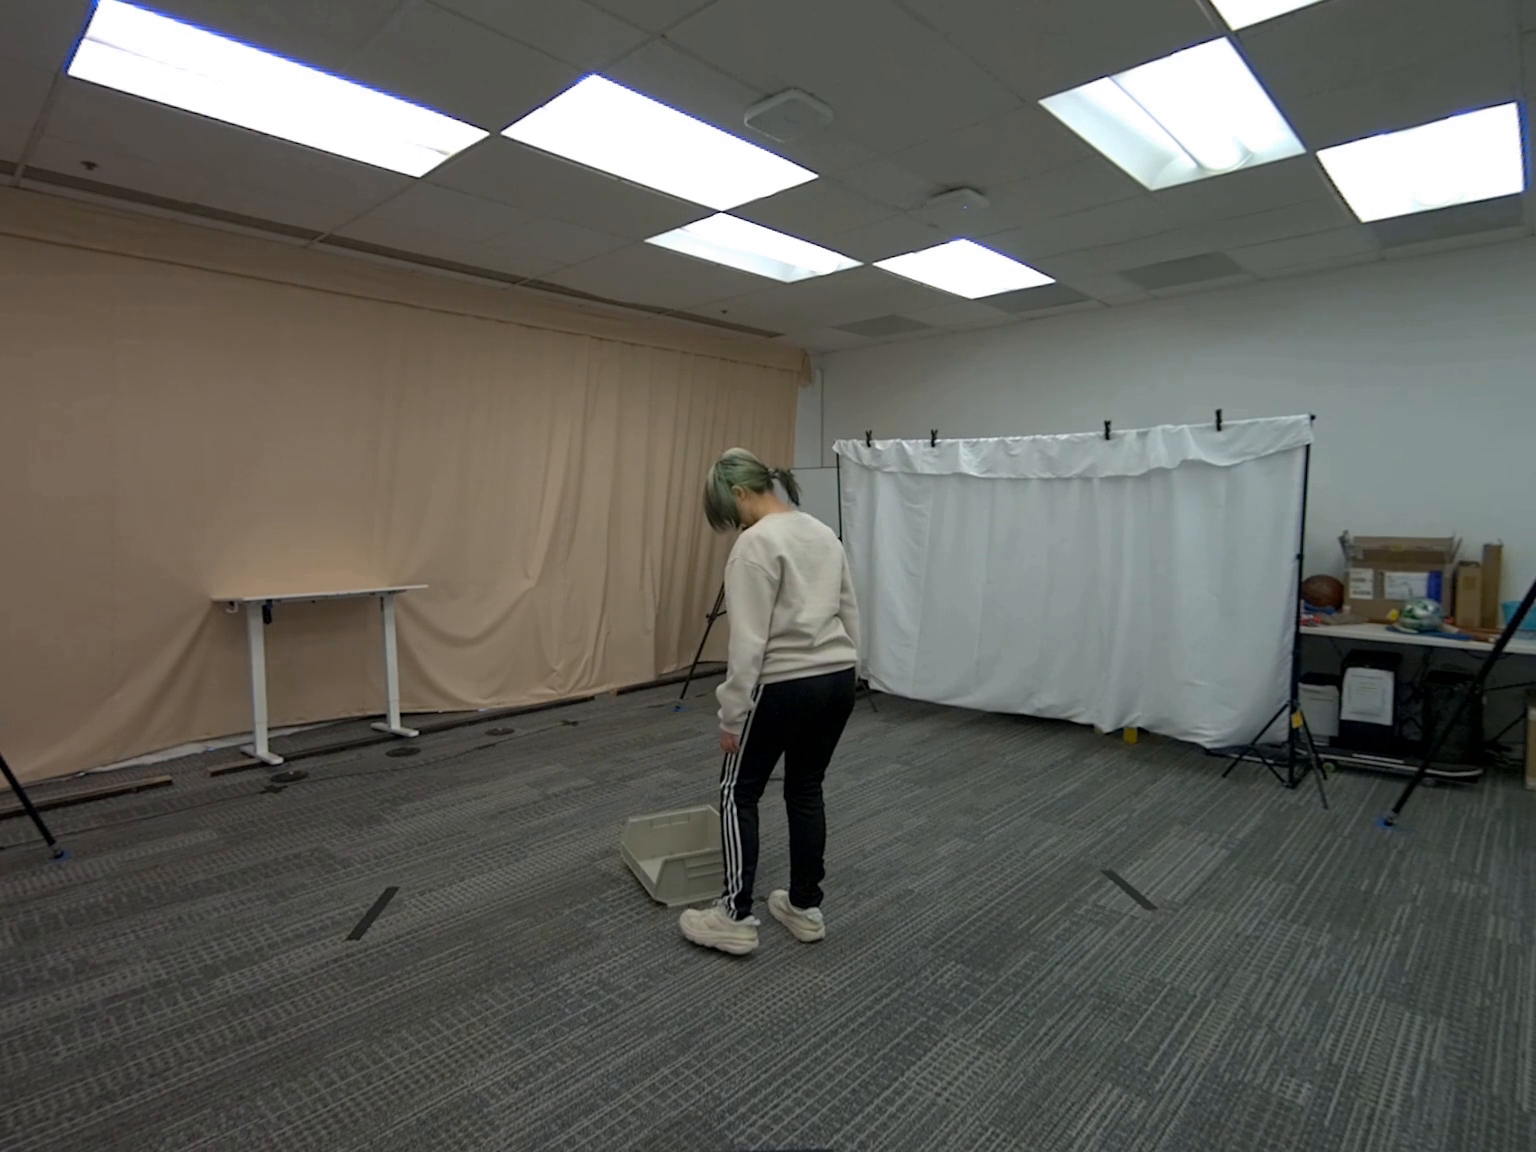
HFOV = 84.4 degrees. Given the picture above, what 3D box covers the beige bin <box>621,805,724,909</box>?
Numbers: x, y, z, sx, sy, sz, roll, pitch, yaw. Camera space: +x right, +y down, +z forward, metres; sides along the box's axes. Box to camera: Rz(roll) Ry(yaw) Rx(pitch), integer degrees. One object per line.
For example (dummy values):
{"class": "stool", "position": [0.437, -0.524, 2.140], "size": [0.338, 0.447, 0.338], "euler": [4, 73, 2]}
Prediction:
{"class": "beige bin", "position": [-0.316, 1.042, 3.156], "size": [0.368, 0.188, 0.433], "euler": [-2, 4, -25]}
